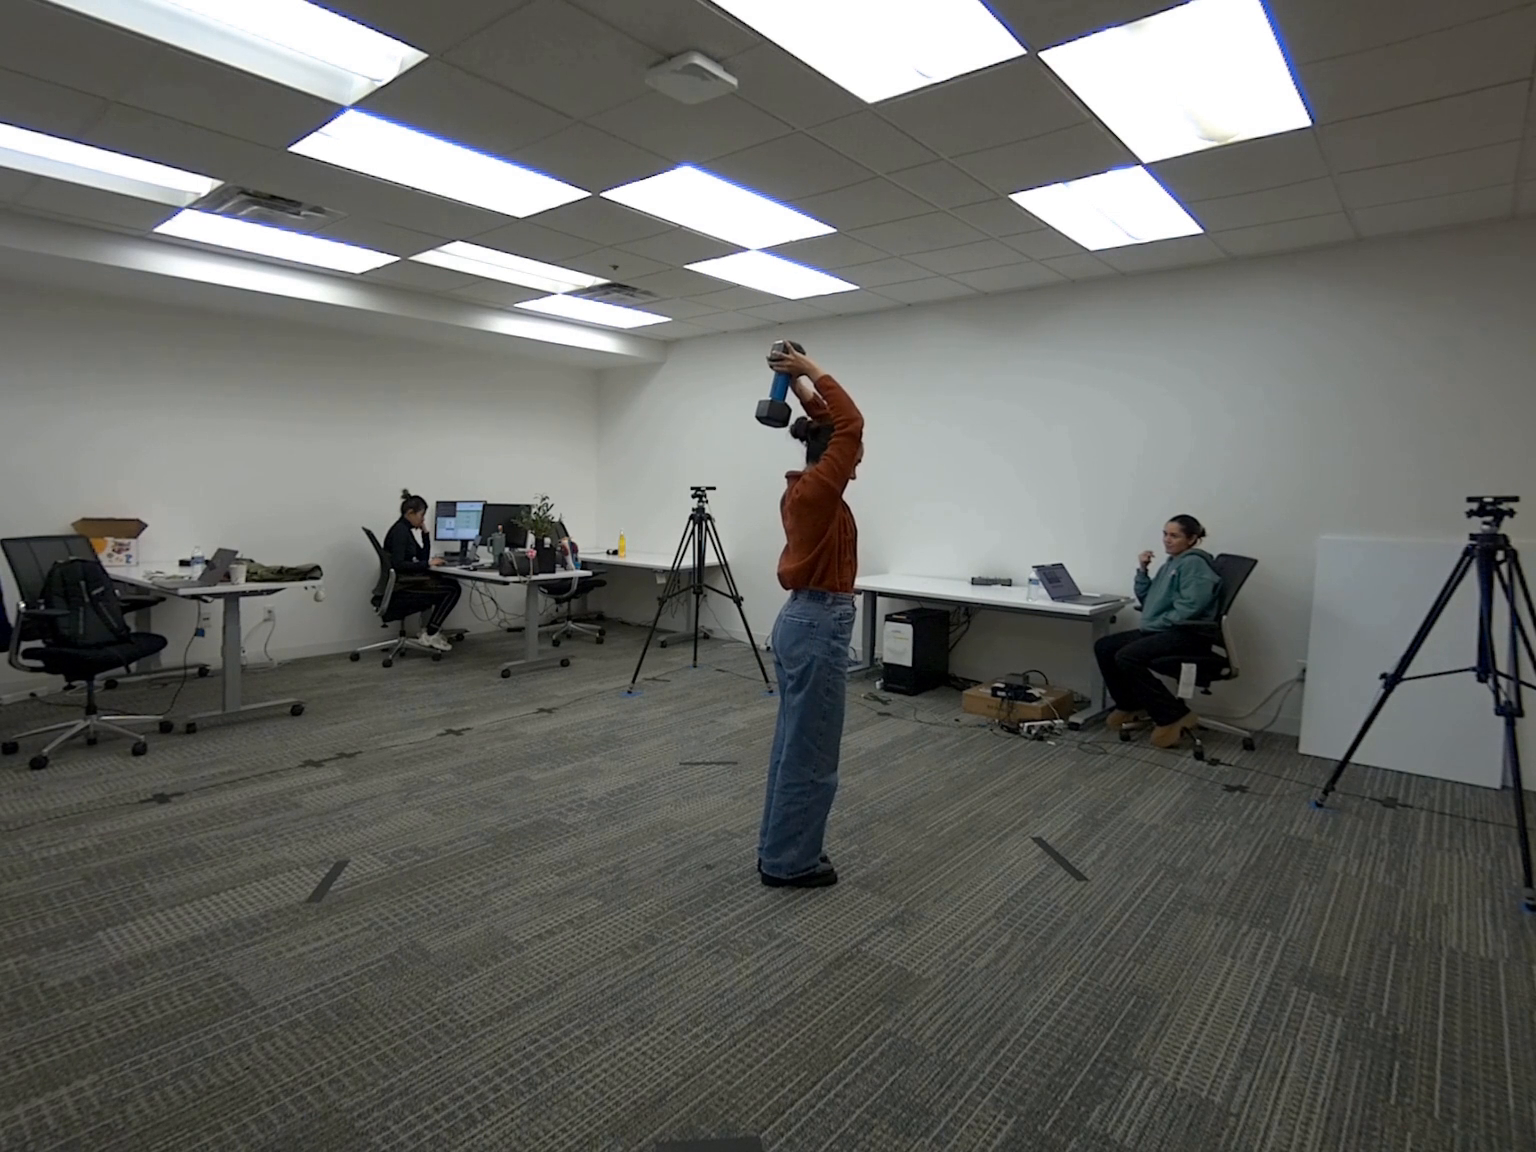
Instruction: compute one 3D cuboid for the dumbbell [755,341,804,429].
[{"bbox_3d":[0.040,-0.672,2.989,0.121,0.294,0.110,15,-5,-13],"label":"dumbbell"}]
